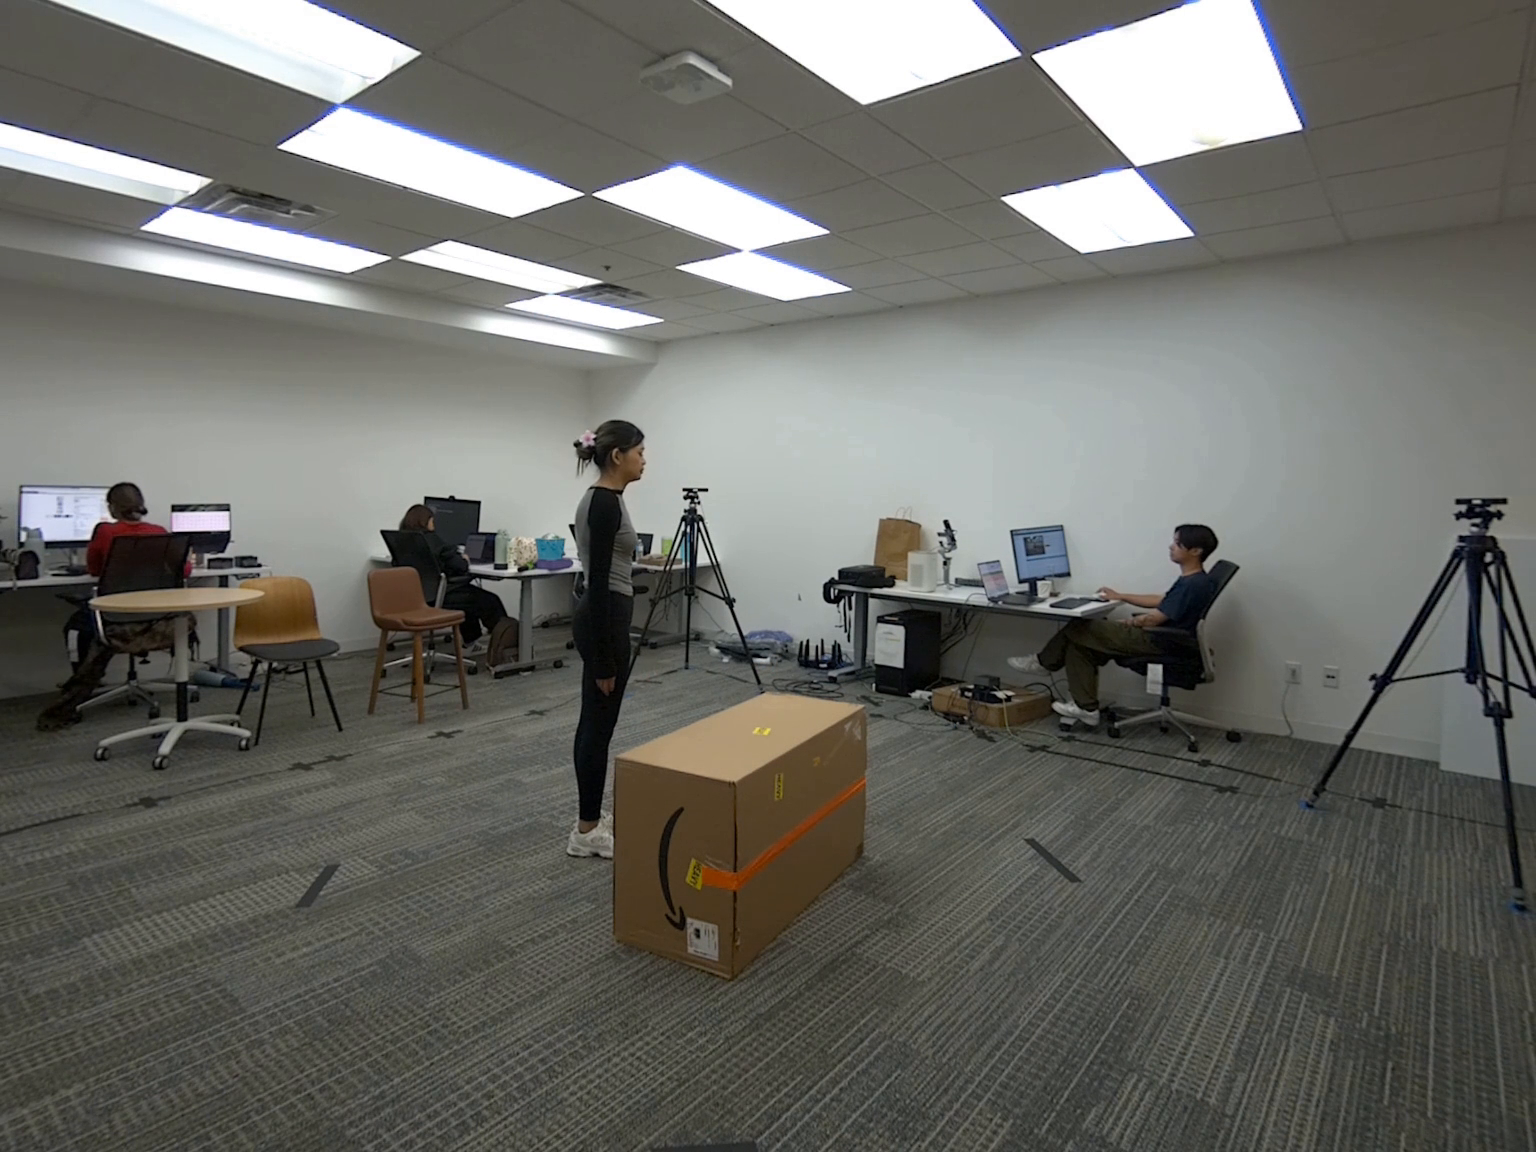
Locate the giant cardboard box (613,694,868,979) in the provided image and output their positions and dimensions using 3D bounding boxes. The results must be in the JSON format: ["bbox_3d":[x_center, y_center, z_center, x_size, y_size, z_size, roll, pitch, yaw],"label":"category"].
[{"bbox_3d":[-0.055,0.805,2.921,0.438,0.576,1.000,2,5,29],"label":"giant cardboard box"}]
